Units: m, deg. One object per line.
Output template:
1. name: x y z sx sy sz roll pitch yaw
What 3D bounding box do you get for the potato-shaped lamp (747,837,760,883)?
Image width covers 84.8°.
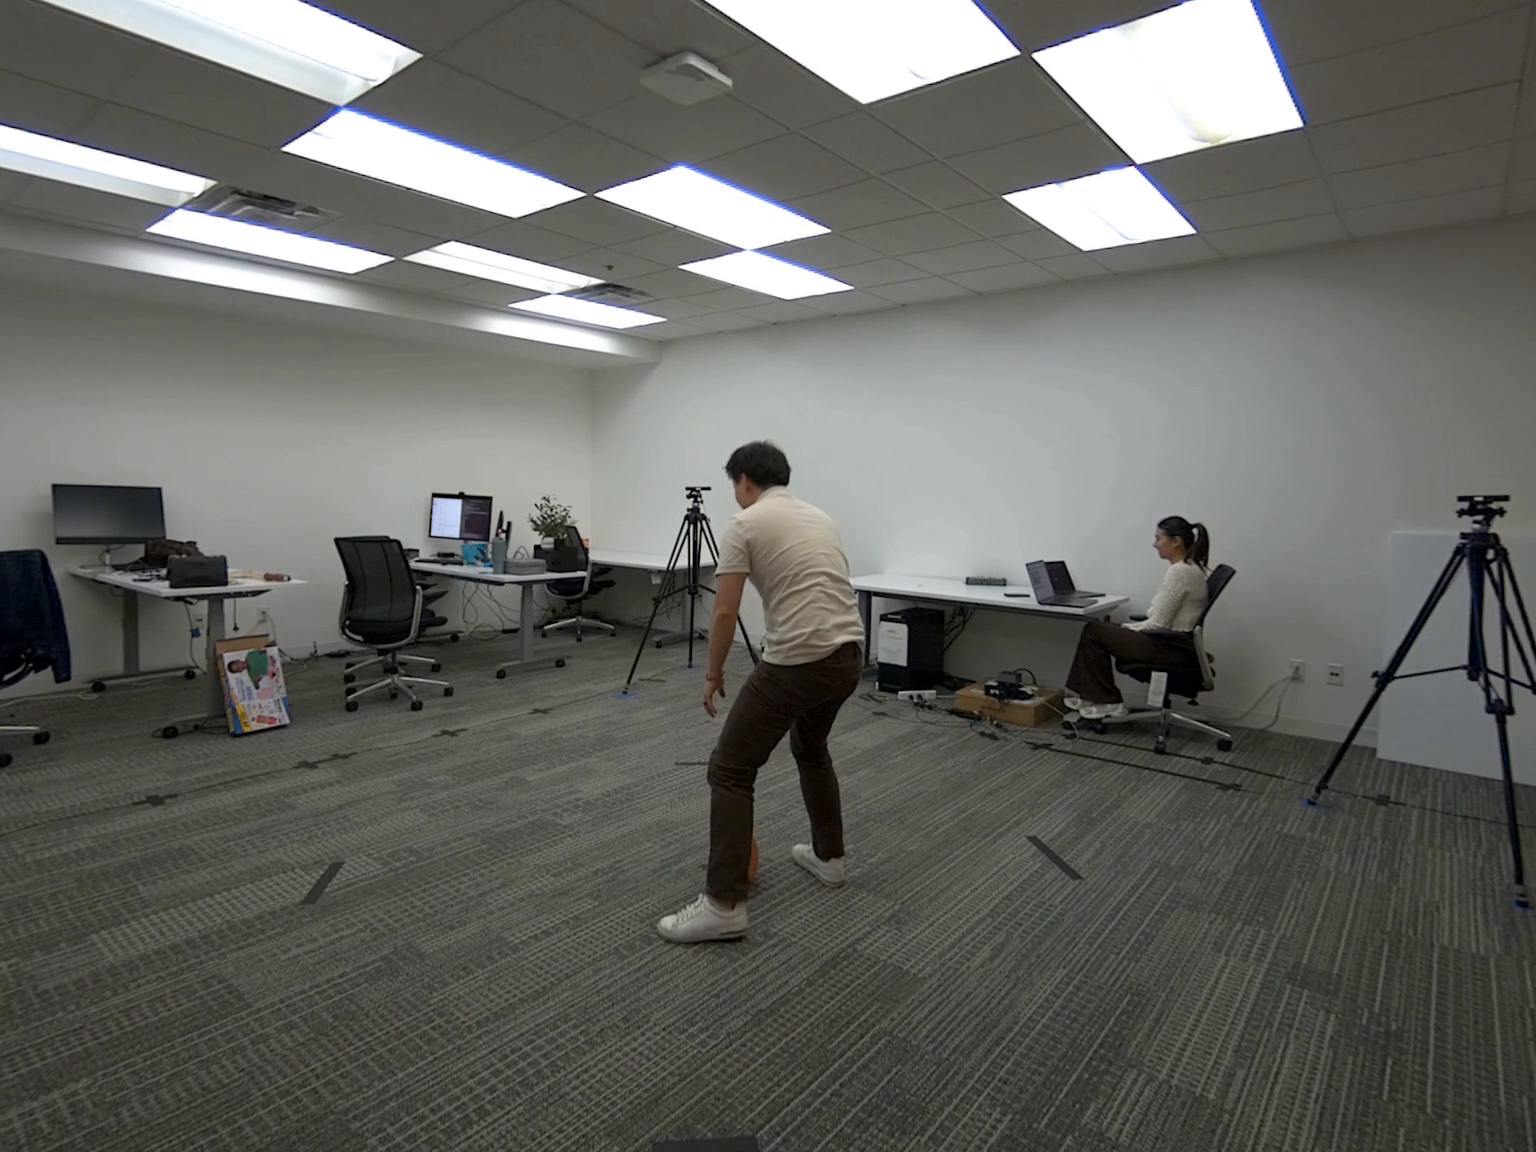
1. potato-shaped lamp: -0.122 0.971 3.007 0.177 0.197 0.160 3 5 43
